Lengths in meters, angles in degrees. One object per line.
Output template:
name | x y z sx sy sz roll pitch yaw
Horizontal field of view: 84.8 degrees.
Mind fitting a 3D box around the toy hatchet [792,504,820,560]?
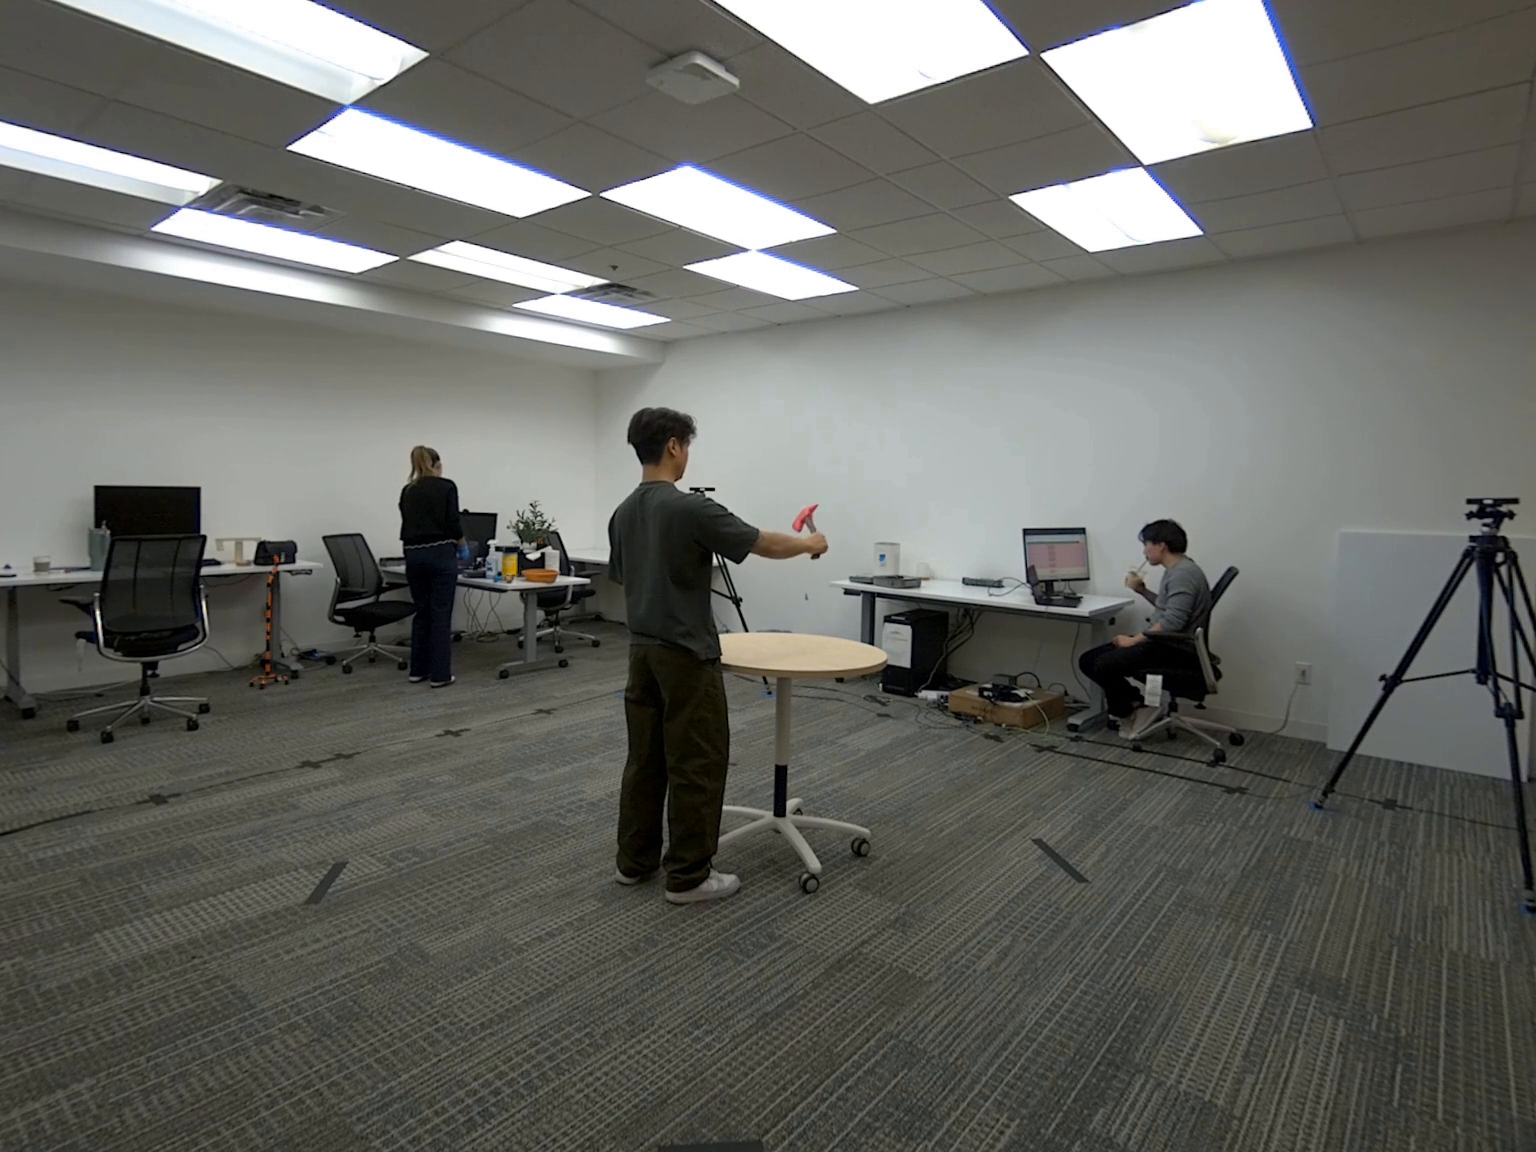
toy hatchet | 0.139 -0.150 3.177 0.132 0.277 0.028 -28 -49 29
